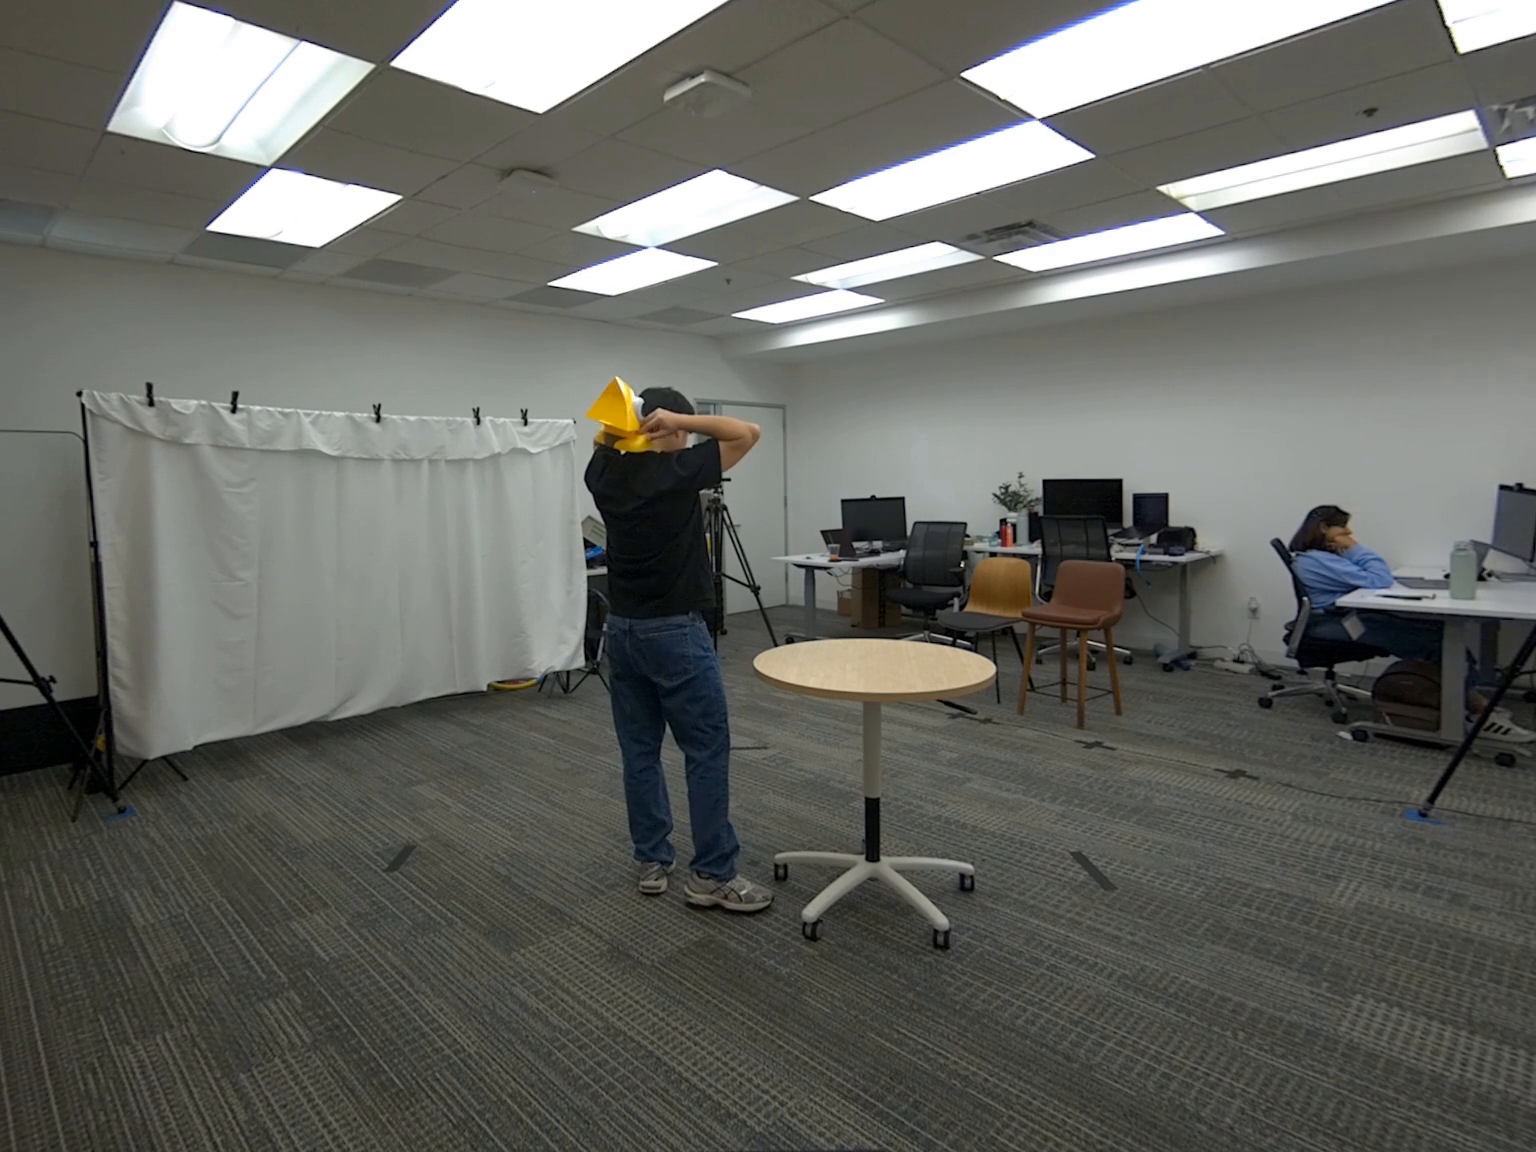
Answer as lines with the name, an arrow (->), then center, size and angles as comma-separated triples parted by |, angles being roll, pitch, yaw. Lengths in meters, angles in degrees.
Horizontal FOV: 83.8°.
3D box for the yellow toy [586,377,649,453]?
yellow toy -> -0.468, -0.553, 2.832 | 0.212, 0.227, 0.189 | 22, 25, 32
